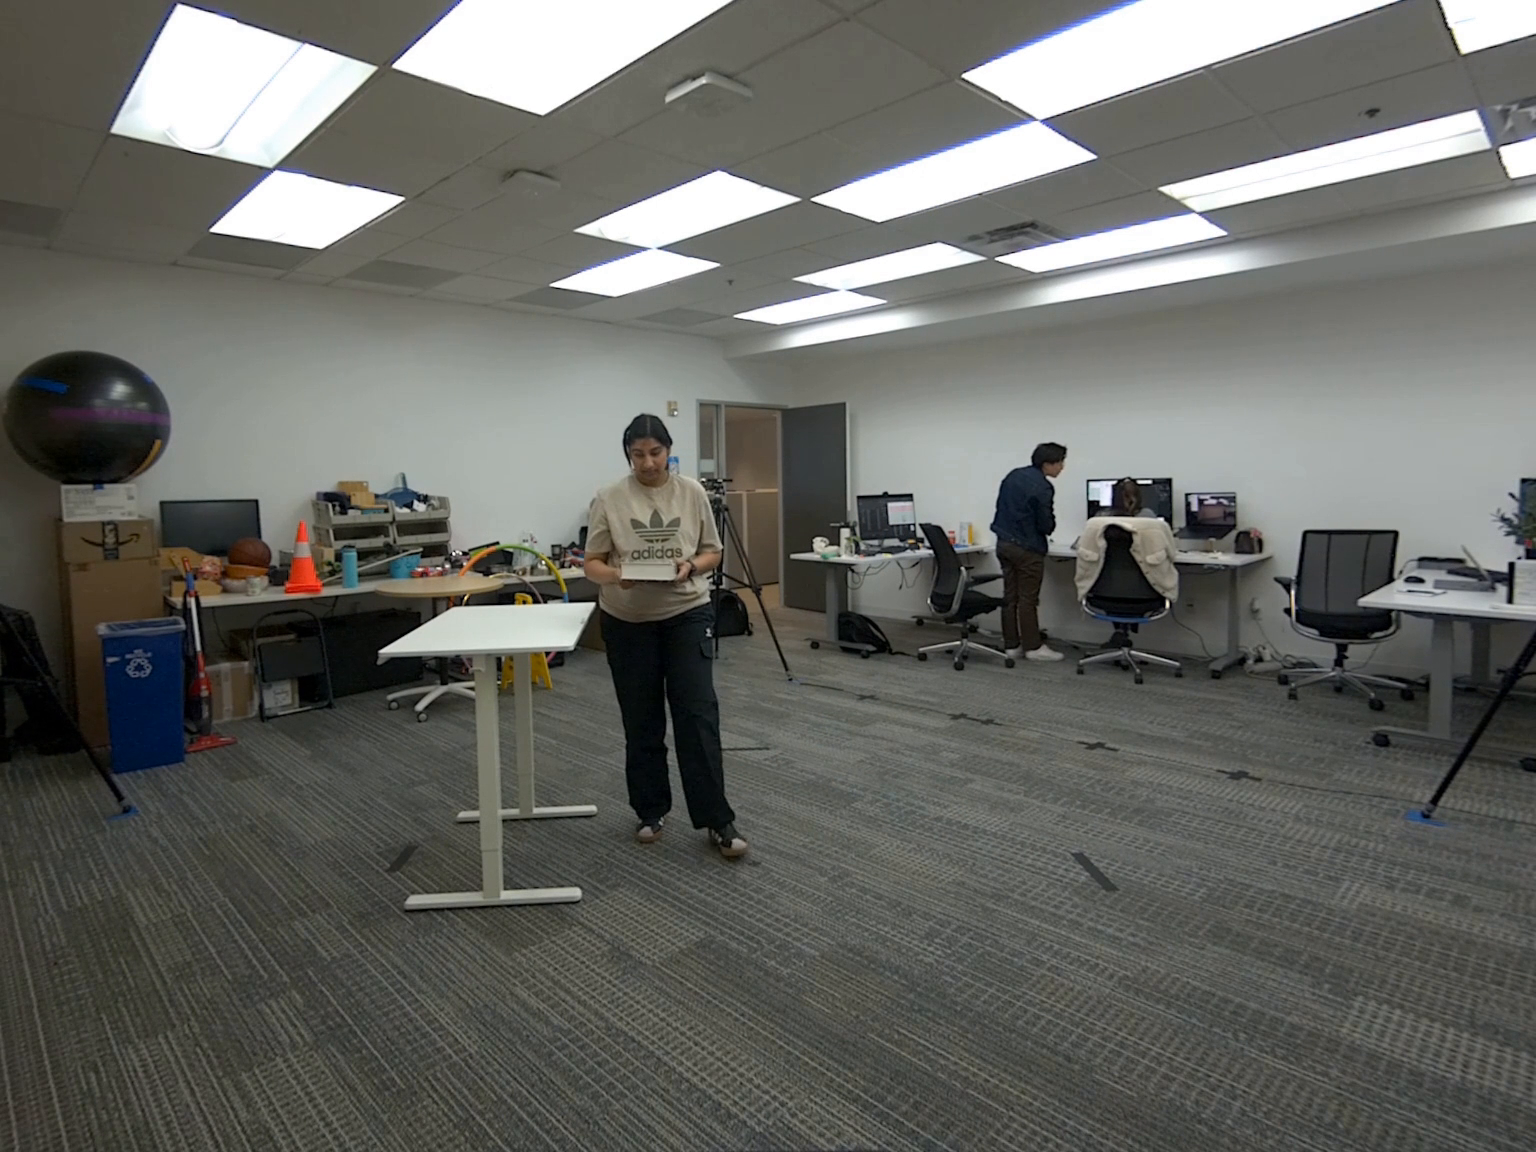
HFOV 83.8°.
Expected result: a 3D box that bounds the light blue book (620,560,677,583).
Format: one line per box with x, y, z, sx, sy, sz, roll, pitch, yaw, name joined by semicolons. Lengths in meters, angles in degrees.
-0.425;-0.014;3.086;0.255;0.059;0.194;-1;-4;-24;light blue book
